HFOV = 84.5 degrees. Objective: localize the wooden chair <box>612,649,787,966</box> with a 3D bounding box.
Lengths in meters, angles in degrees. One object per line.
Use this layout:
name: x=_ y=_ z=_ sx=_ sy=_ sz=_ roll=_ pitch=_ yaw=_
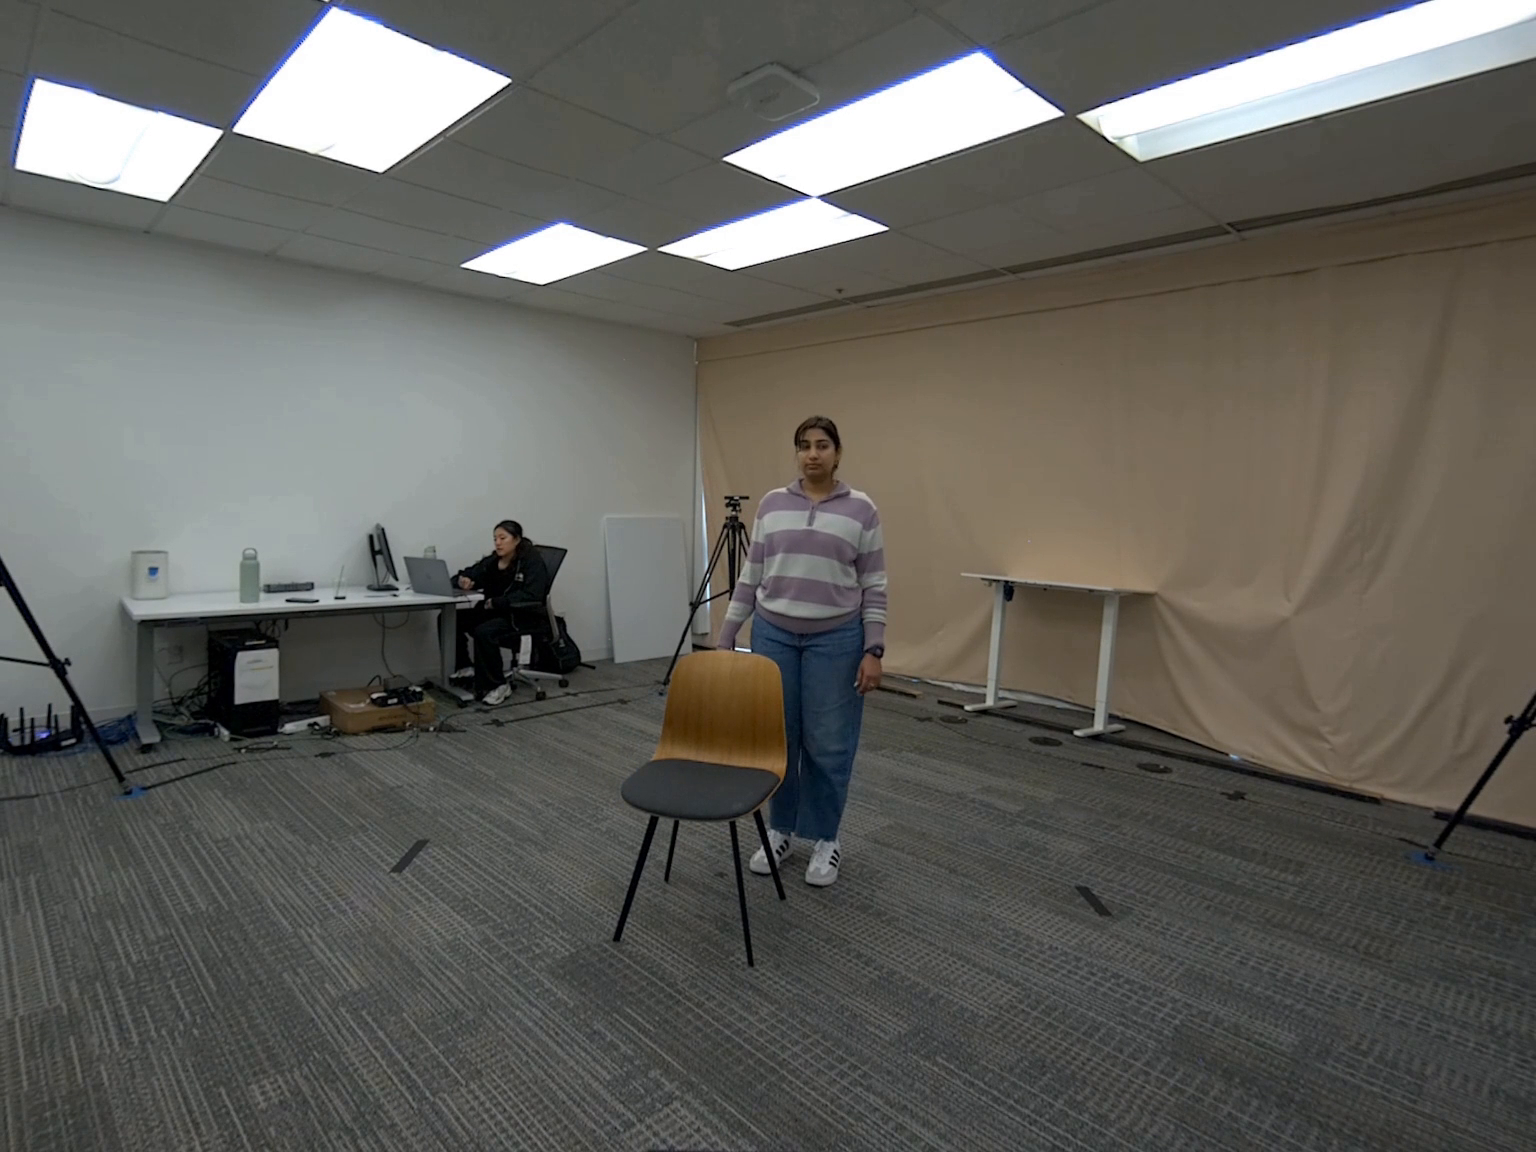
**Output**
wooden chair: x=-0.208 y=0.710 z=2.733 sx=0.484 sy=0.878 sz=0.516 roll=2 pitch=0 yaw=15
